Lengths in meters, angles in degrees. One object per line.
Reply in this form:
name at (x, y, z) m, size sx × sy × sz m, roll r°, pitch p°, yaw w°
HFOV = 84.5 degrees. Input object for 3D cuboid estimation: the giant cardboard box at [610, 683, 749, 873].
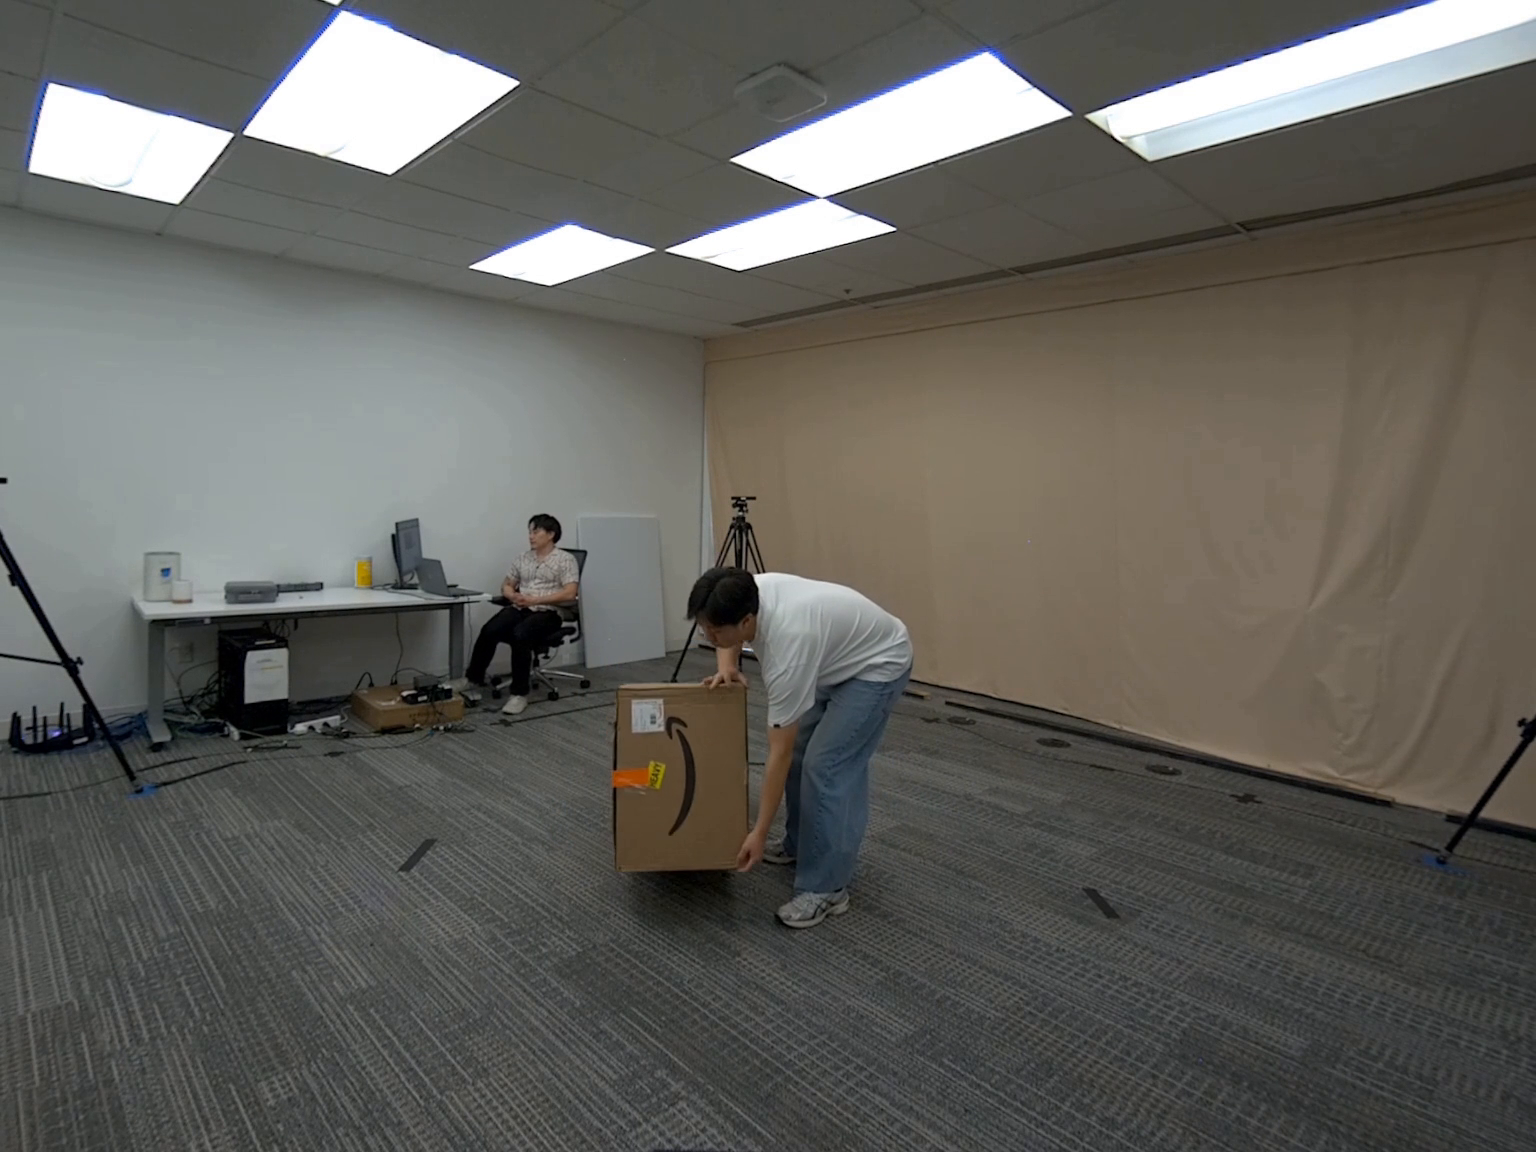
giant cardboard box at (-0.360, 0.706, 3.193) m, size 0.424 × 0.581 × 1.025 m, roll 0°, pitch -8°, yaw -8°
